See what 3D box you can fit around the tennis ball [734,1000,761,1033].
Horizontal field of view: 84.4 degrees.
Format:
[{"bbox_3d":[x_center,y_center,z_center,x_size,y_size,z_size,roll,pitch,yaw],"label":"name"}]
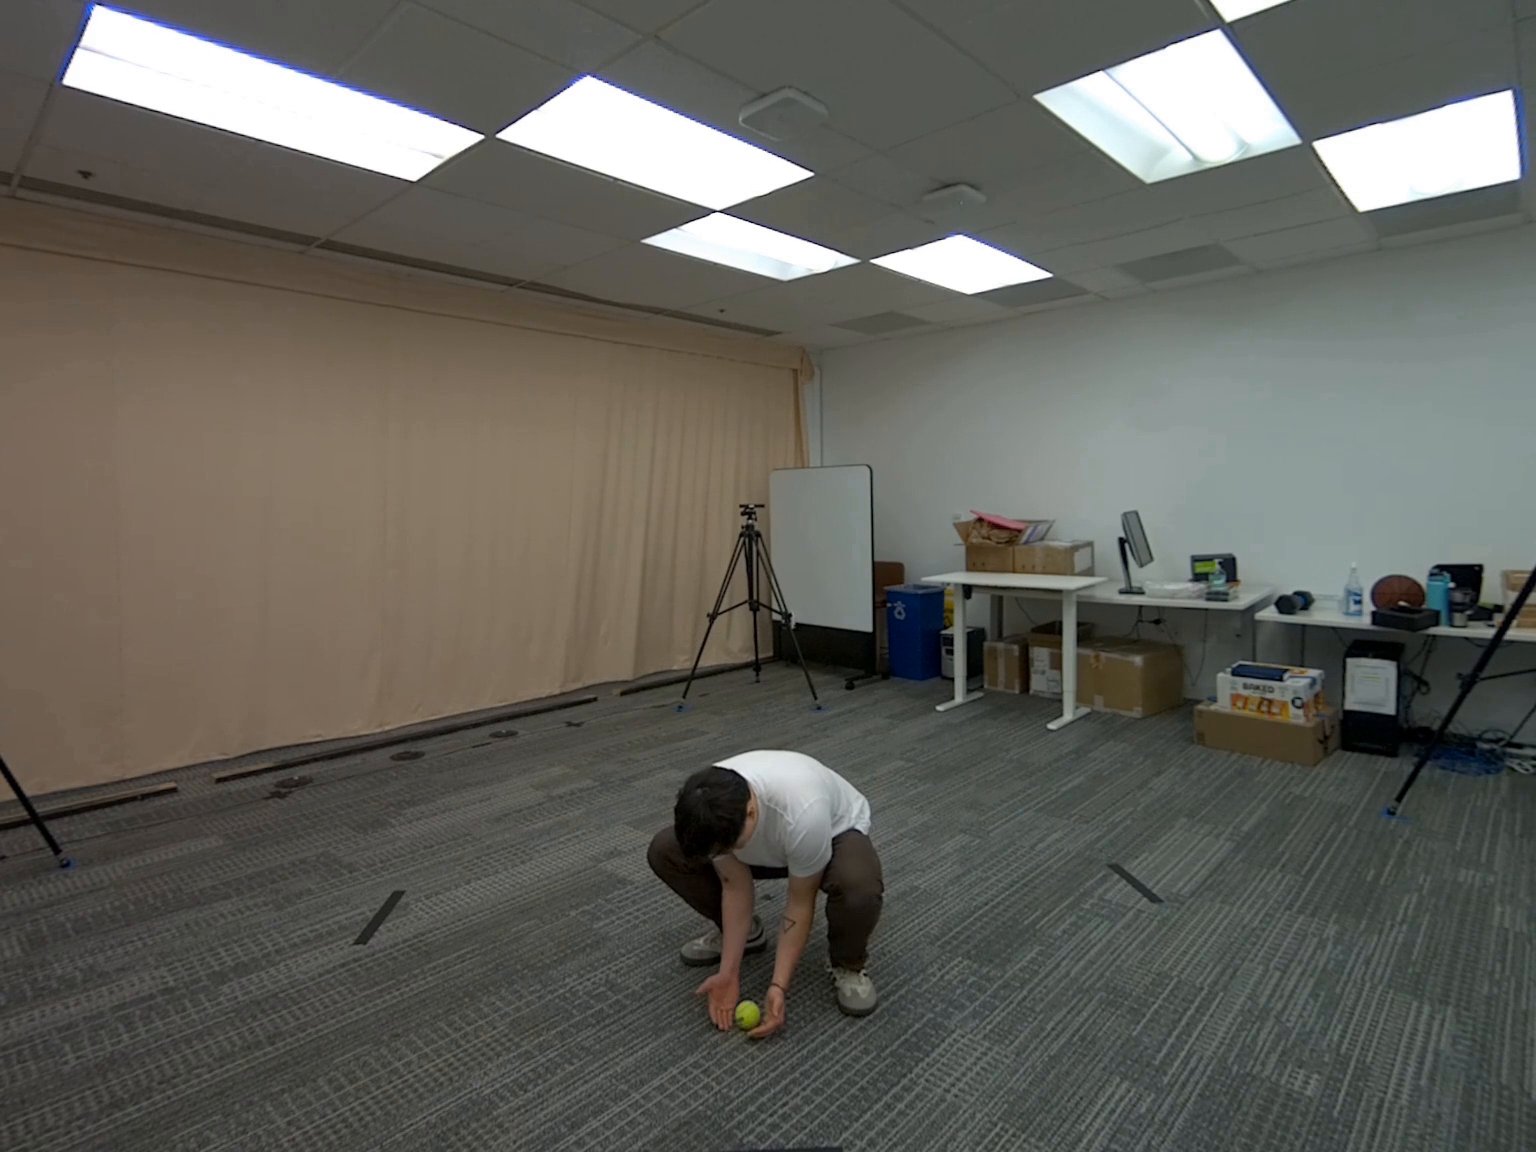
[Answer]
[{"bbox_3d":[-0.049,1.160,2.260,0.066,0.066,0.067,-1,4,-2],"label":"tennis ball"}]
